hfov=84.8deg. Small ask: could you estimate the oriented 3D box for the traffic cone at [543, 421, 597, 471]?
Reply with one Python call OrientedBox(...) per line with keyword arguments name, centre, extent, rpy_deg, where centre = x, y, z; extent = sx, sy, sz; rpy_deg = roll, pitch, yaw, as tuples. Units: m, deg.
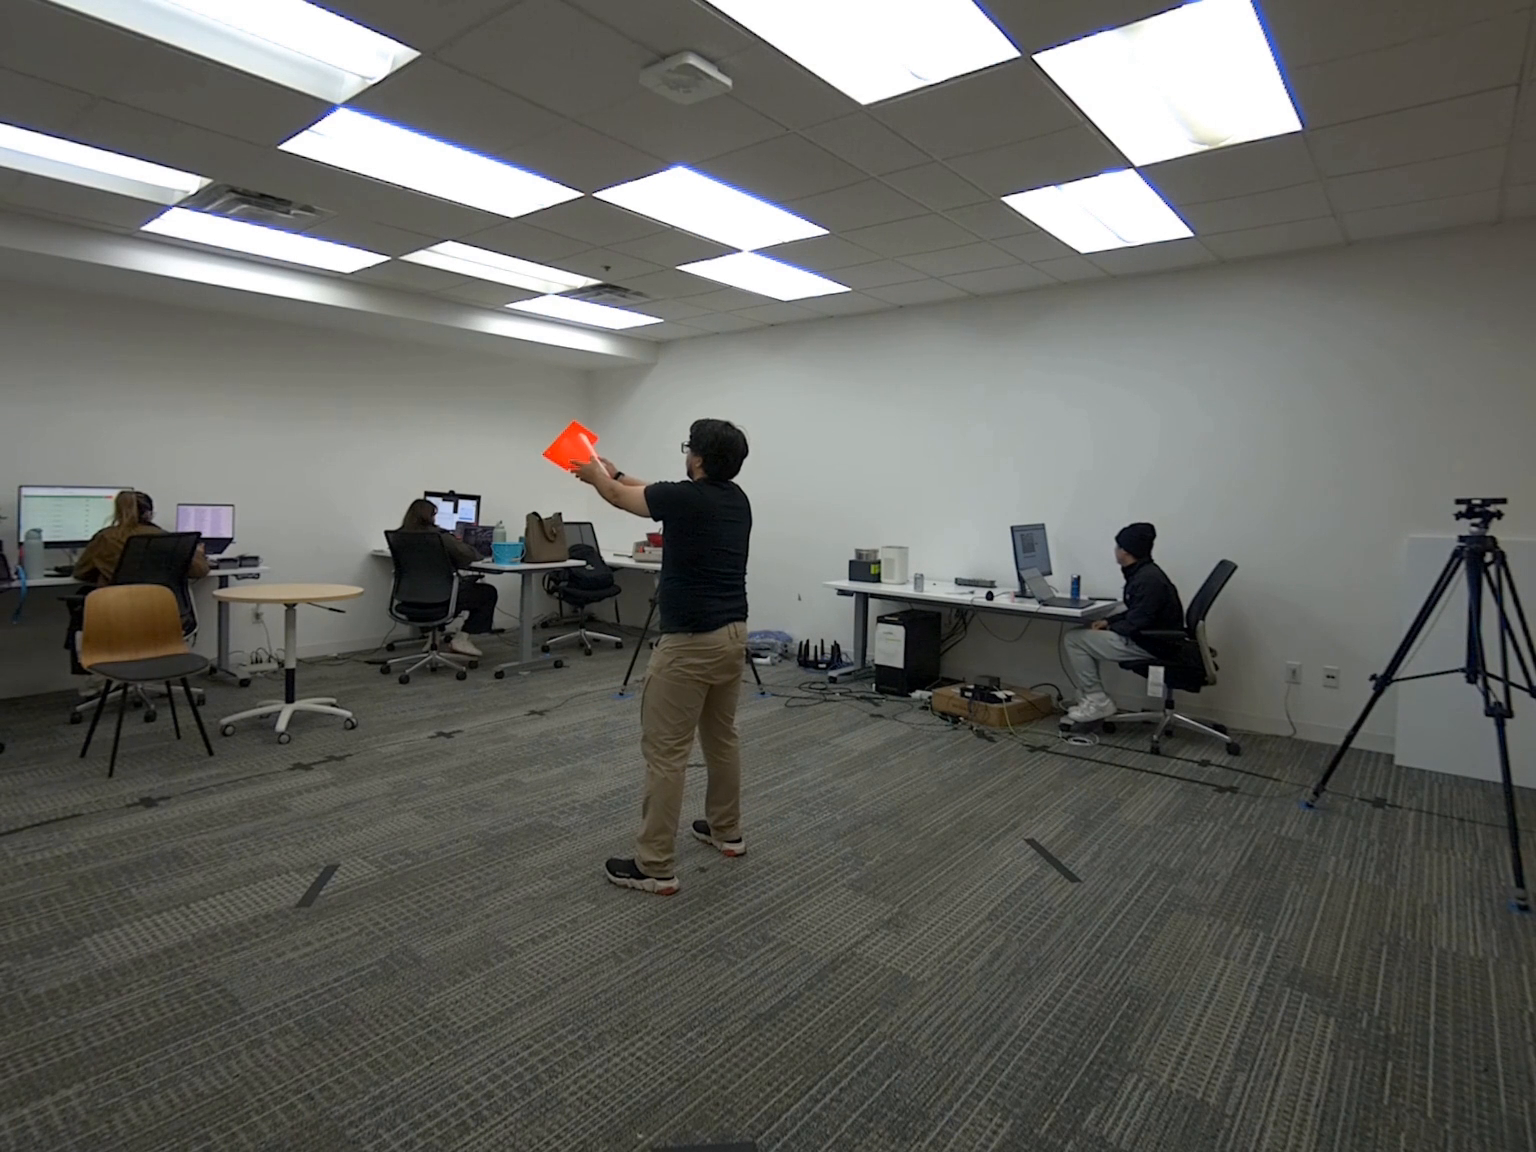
OrientedBox(name="traffic cone", centre=(-0.720, -0.420, 3.471), extent=(0.398, 0.203, 0.198), rpy_deg=(47, 7, 28))
